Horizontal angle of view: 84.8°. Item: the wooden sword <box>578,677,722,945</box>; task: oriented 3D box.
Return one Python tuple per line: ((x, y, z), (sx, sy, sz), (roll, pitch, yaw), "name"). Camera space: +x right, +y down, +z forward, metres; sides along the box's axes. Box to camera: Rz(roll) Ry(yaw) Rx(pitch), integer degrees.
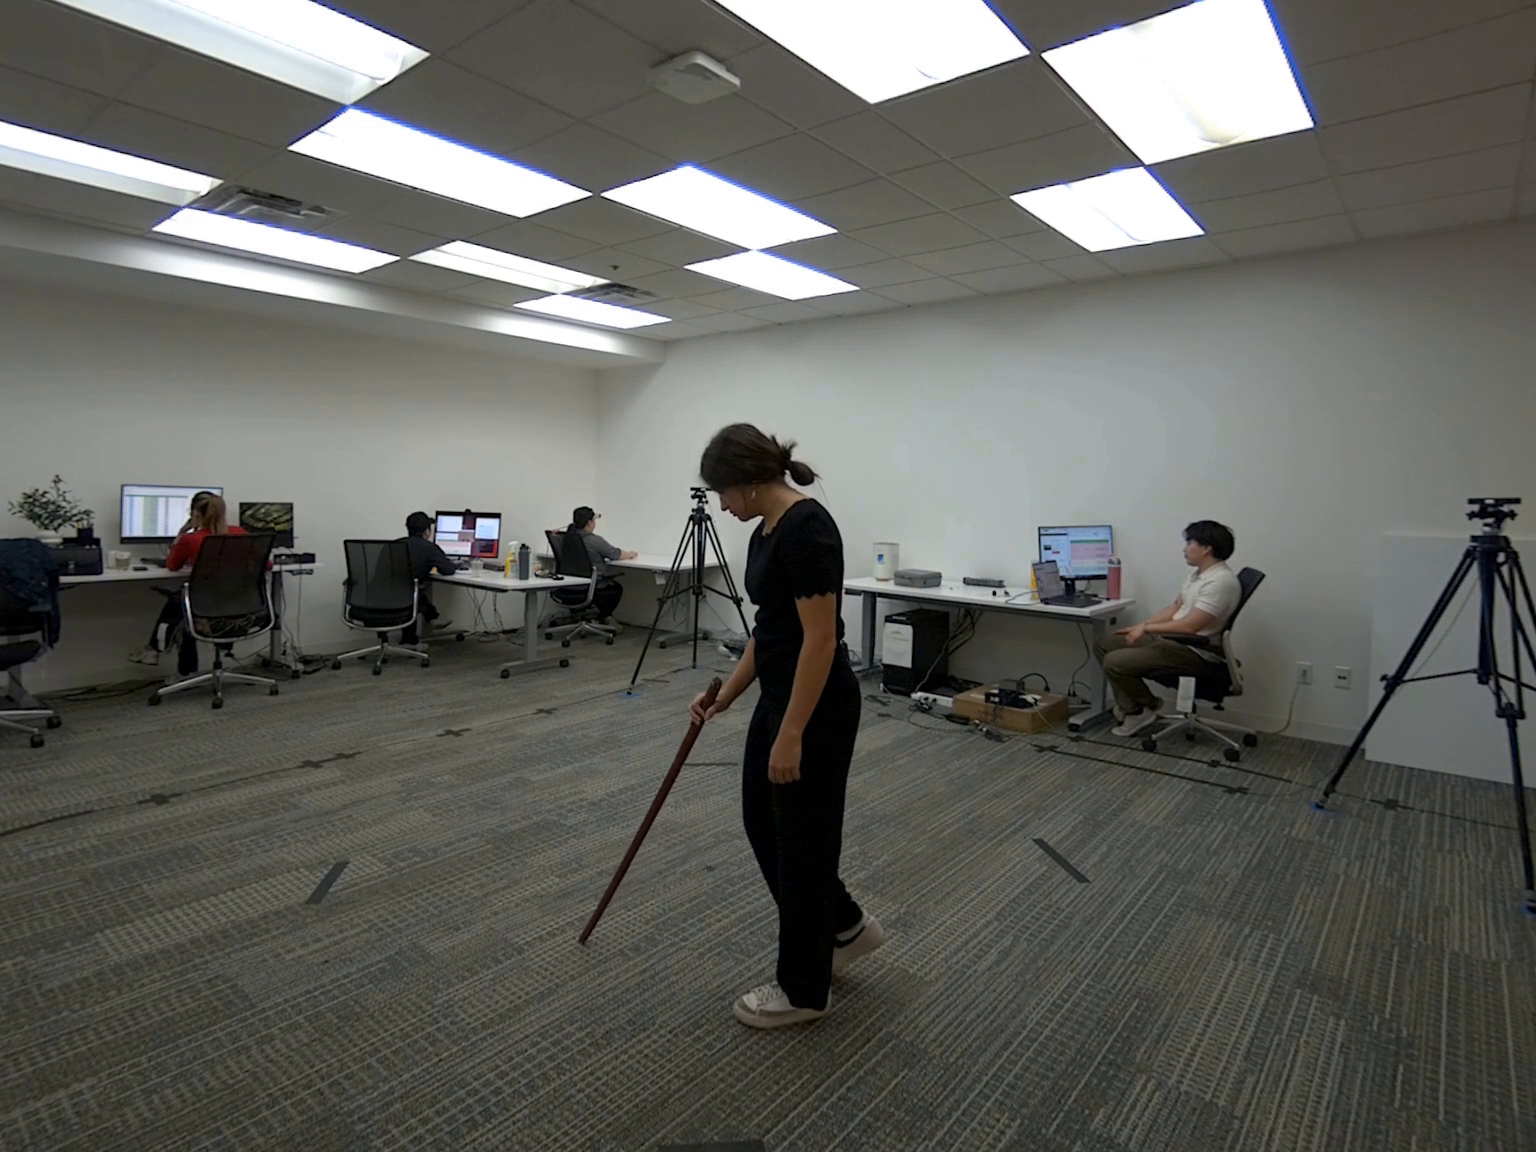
((-0.370, 0.713, 2.400), (0.053, 1.016, 0.023), (41, 26, 28), "wooden sword")
